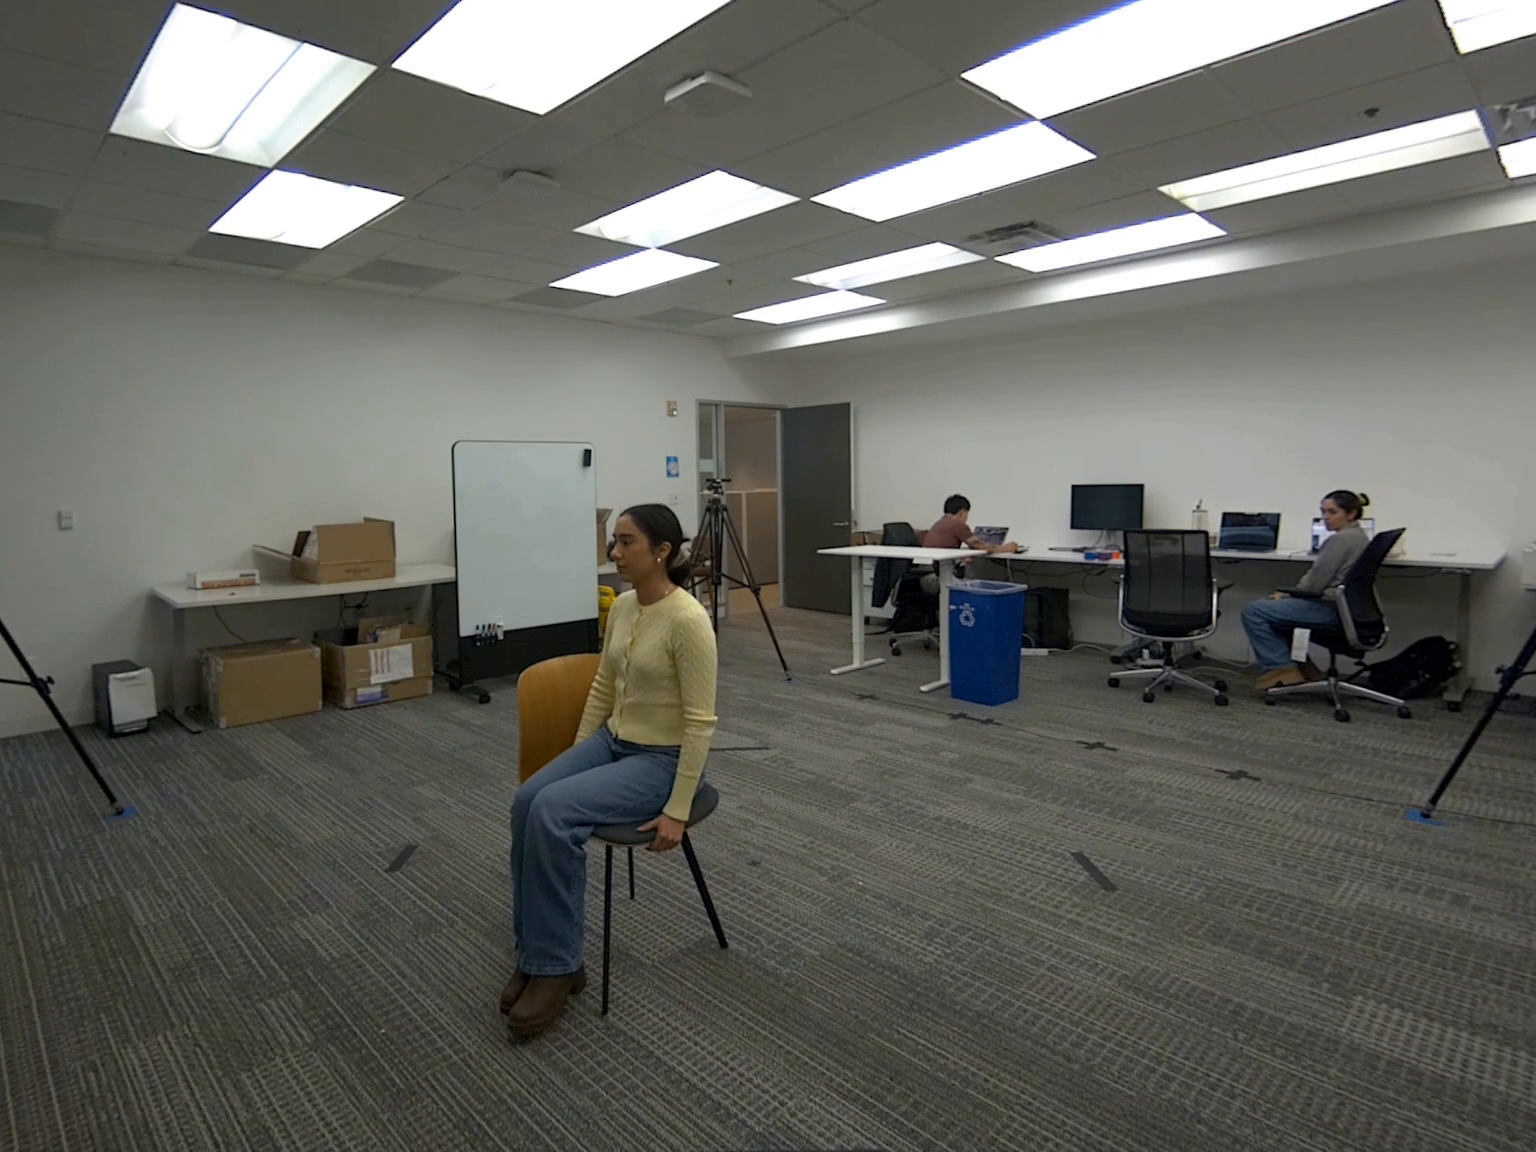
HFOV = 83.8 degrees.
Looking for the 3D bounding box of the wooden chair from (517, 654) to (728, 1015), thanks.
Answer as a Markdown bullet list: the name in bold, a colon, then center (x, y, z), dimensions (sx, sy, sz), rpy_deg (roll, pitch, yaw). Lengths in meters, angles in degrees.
- **wooden chair**: center (-0.435, 0.692, 2.527), dimensions (0.465, 0.876, 0.538), rpy_deg (-5, 2, -45)
